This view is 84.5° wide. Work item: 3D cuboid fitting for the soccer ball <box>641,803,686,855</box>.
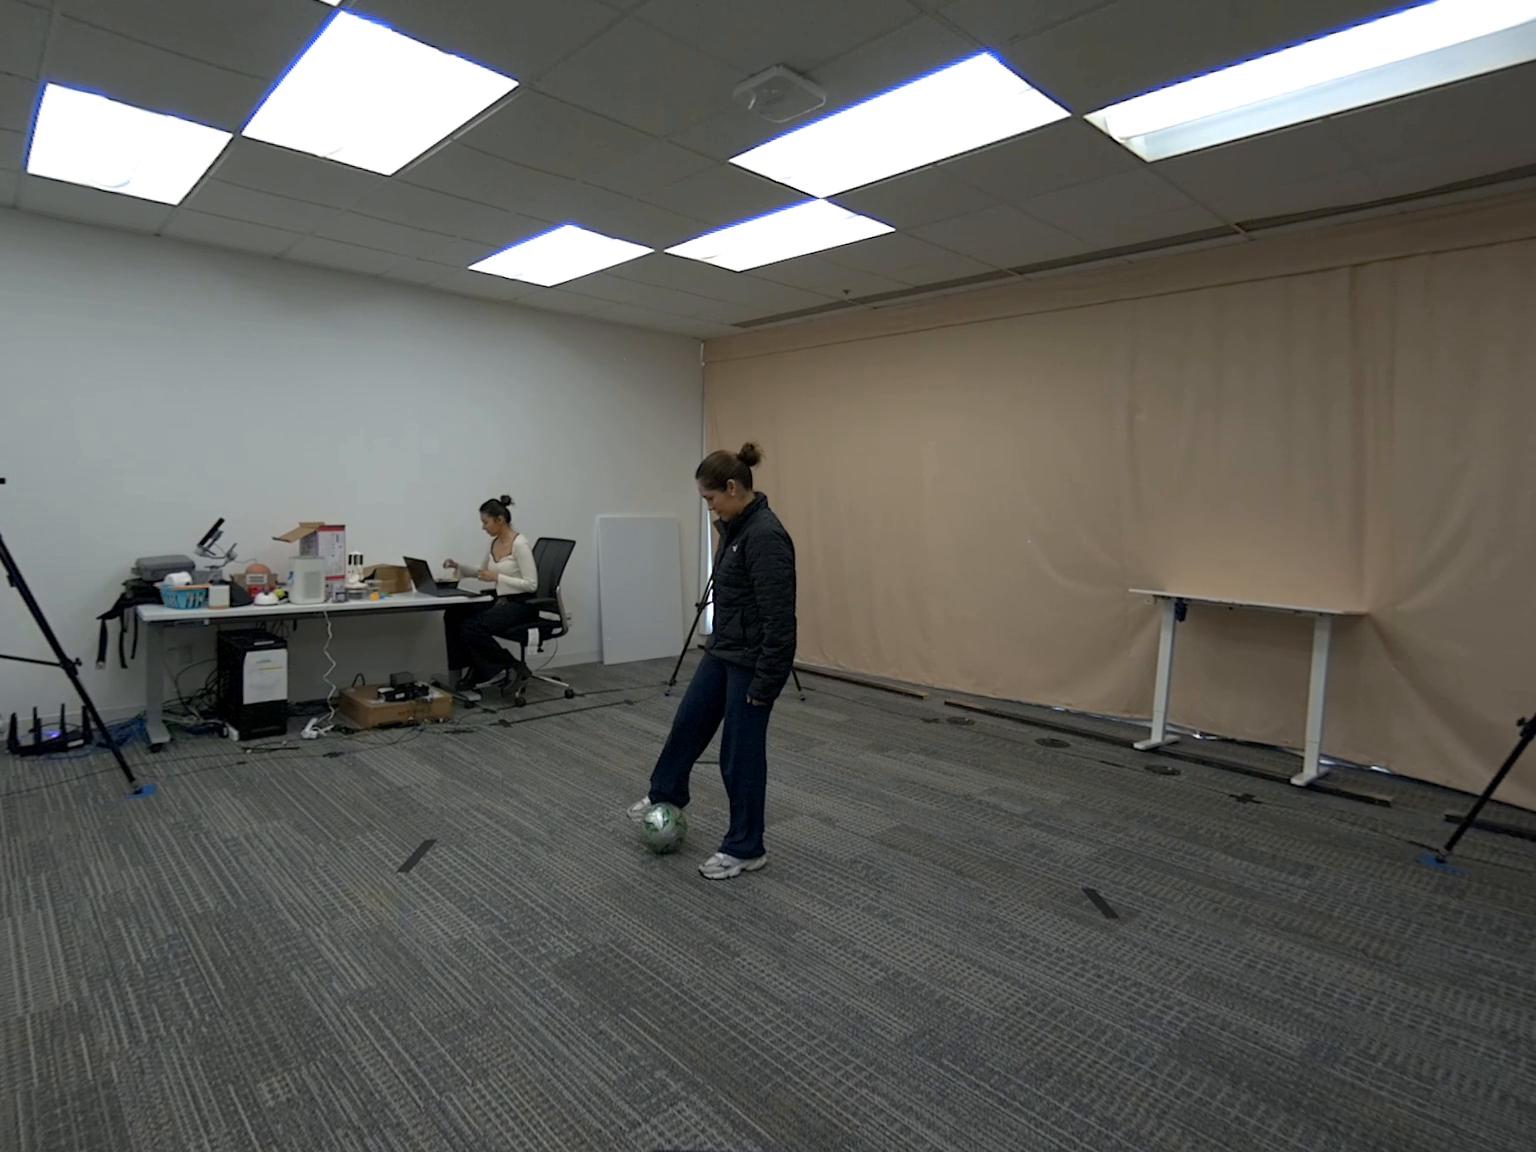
[{"bbox_3d":[-0.414,0.987,3.294,0.187,0.187,0.188,1,4,-1],"label":"soccer ball"}]
